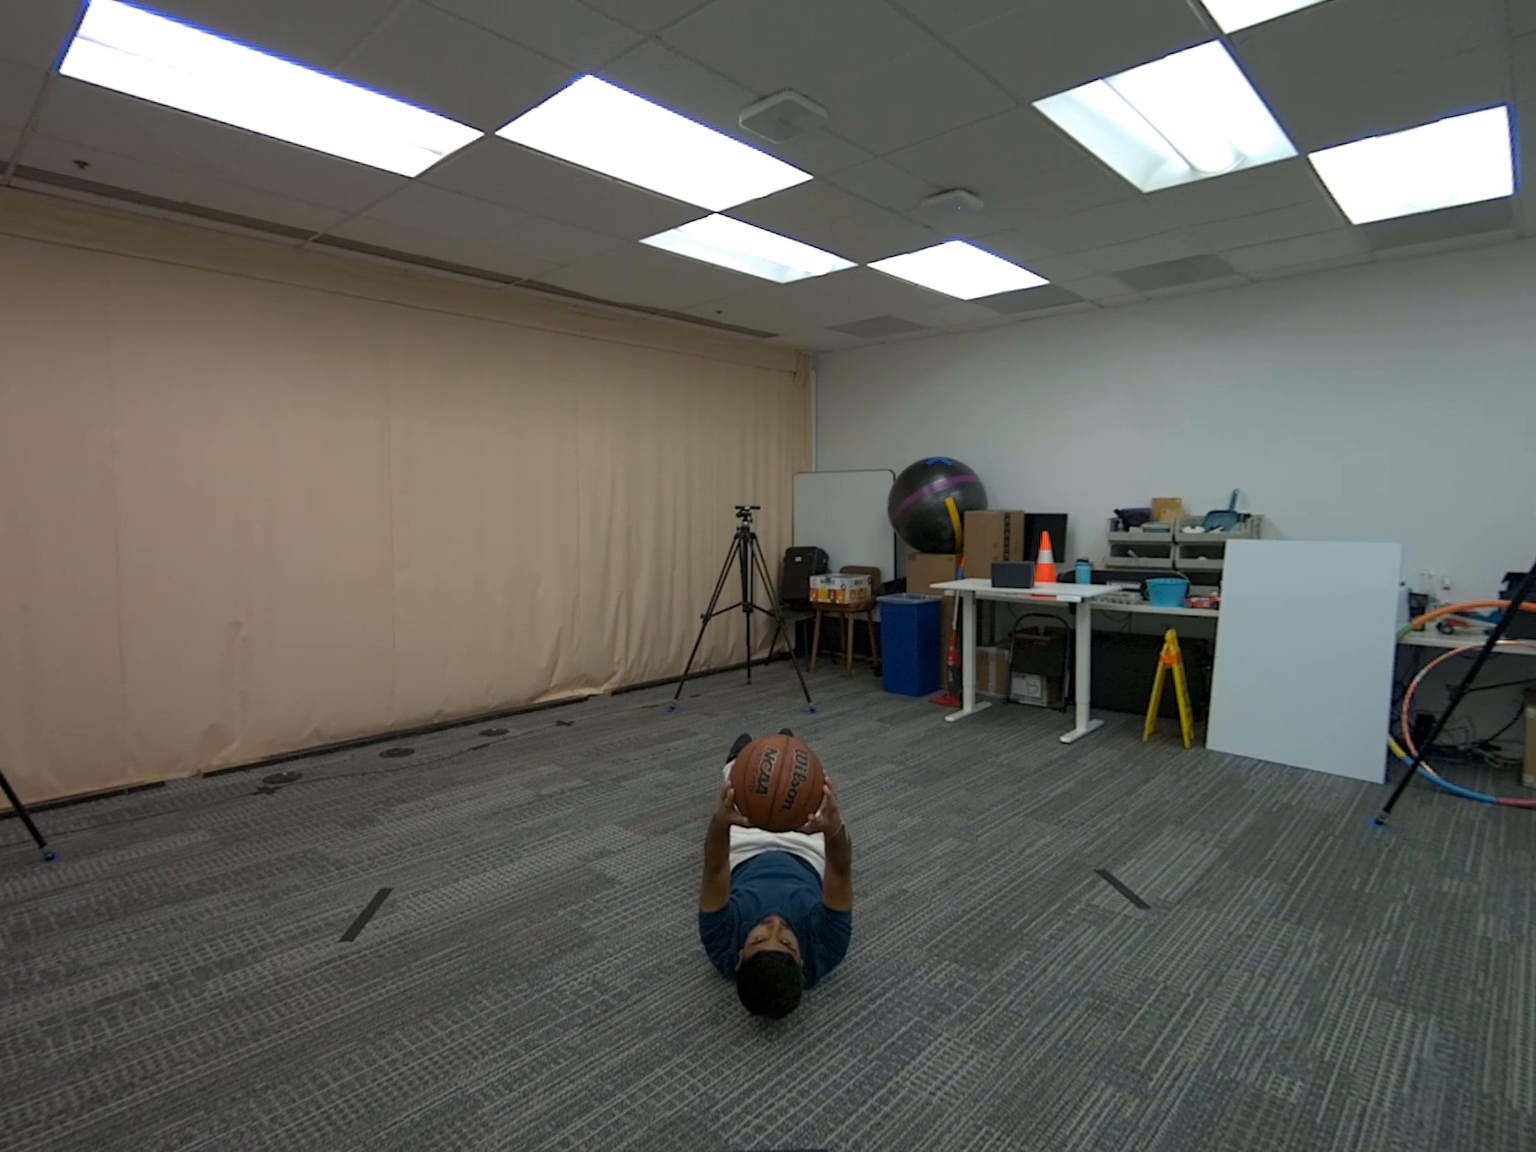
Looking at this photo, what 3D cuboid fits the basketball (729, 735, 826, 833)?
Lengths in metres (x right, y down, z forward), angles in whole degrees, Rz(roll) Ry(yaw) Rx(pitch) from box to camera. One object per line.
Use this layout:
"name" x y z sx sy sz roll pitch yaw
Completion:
"basketball" 0.031 0.524 2.110 0.236 0.235 0.237 0 4 -2
